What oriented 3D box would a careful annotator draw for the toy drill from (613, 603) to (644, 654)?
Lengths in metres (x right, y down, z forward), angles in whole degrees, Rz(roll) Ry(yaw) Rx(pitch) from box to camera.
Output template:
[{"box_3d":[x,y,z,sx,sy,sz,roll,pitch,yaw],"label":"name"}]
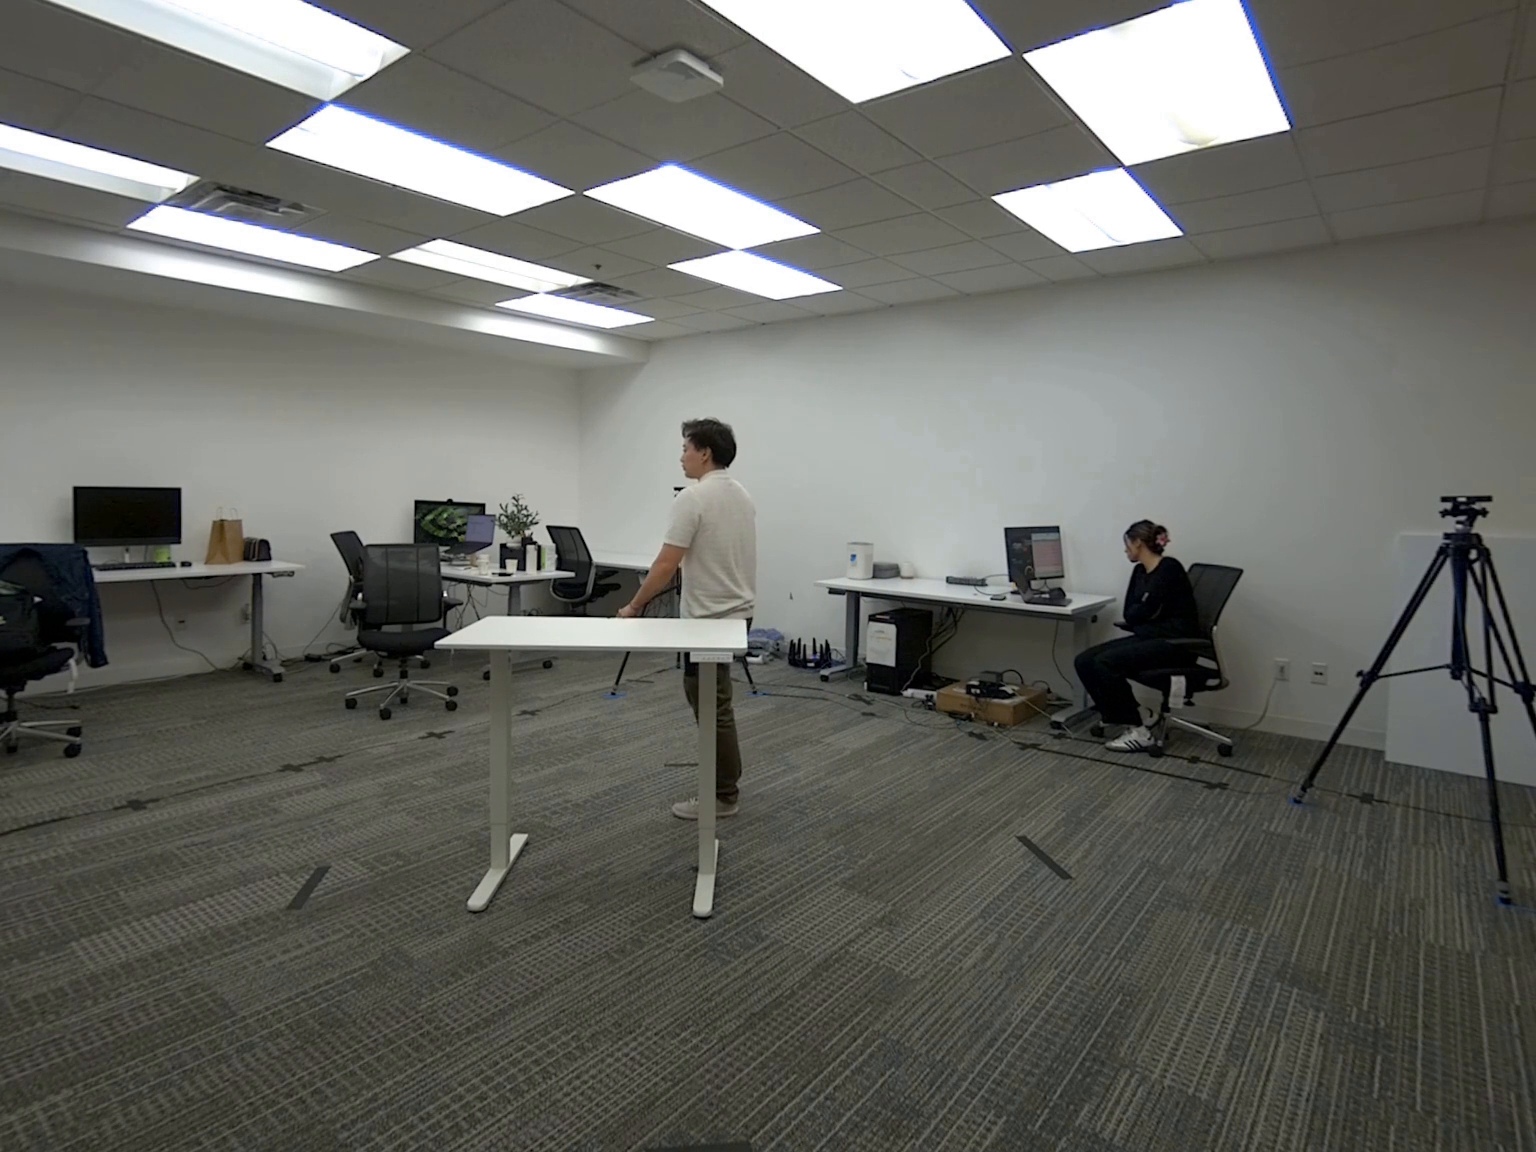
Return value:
[{"box_3d":[-0.607,0.223,3.630,0.059,0.145,0.176,11,19,-25],"label":"toy drill"}]
